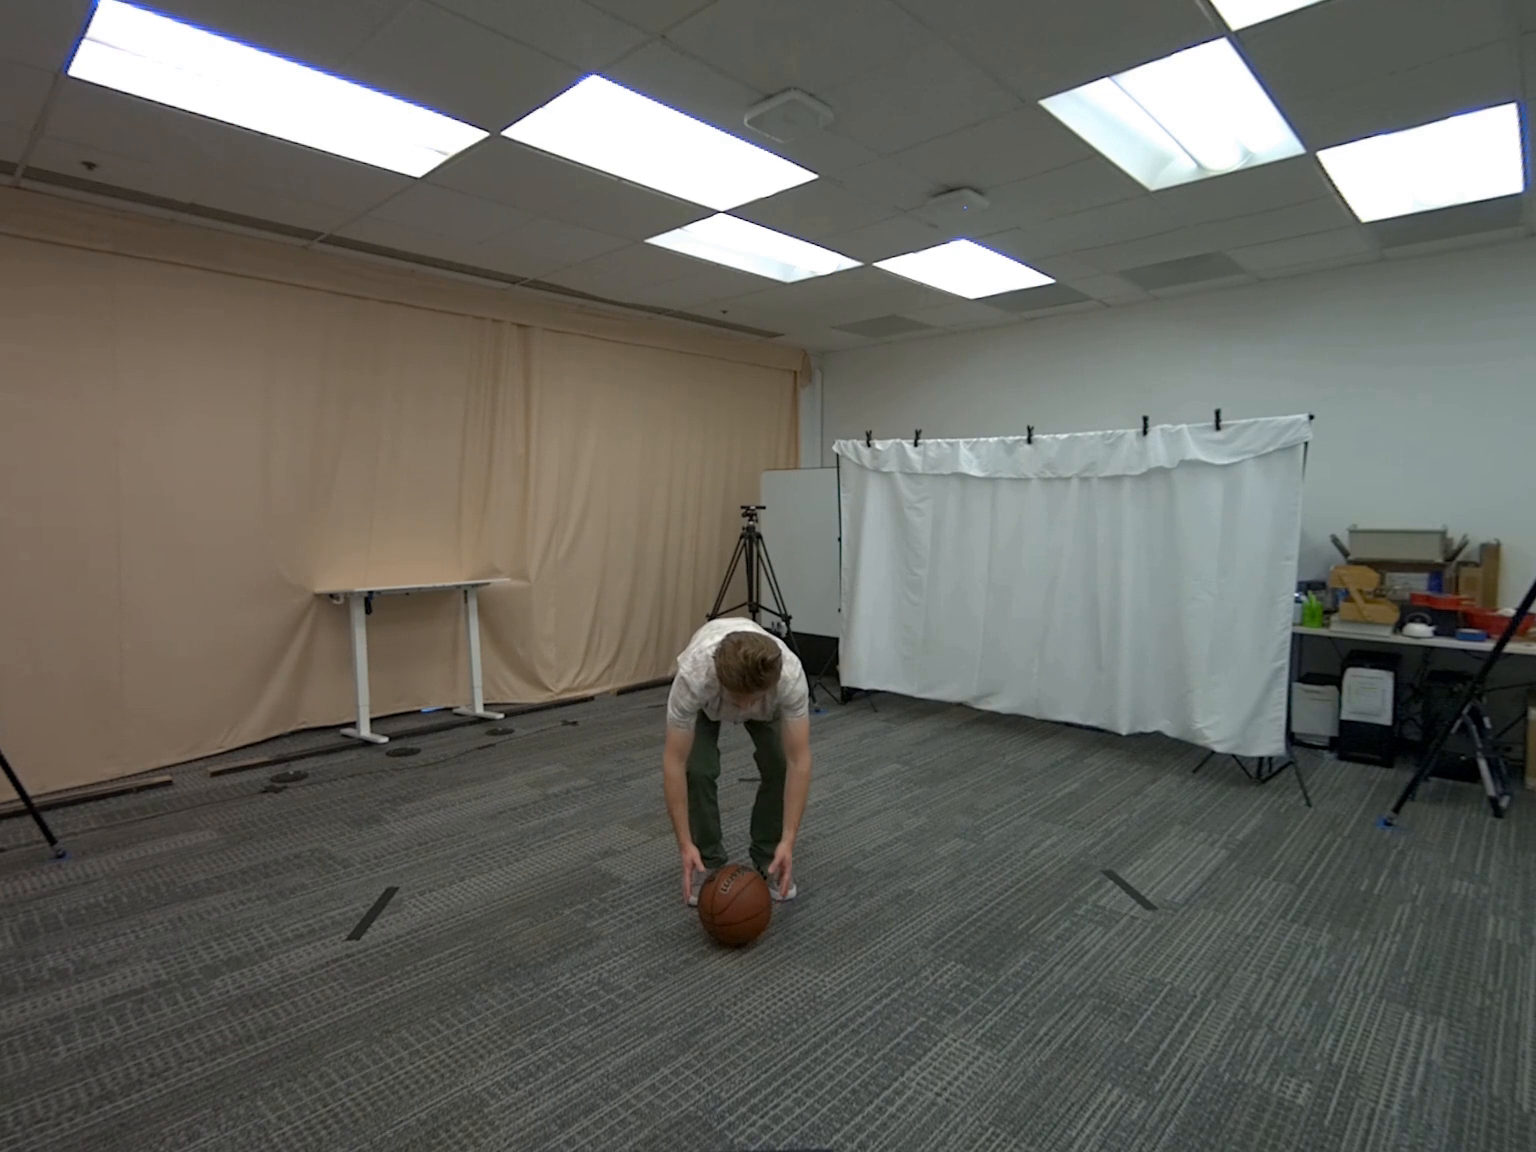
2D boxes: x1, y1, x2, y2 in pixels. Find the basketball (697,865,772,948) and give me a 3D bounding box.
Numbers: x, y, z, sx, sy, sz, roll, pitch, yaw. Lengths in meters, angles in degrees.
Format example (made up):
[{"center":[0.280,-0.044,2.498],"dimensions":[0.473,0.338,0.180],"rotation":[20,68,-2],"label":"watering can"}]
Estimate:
[{"center":[-0.114,1.042,2.687],"dimensions":[0.236,0.235,0.237],"rotation":[0,4,-2],"label":"basketball"}]
